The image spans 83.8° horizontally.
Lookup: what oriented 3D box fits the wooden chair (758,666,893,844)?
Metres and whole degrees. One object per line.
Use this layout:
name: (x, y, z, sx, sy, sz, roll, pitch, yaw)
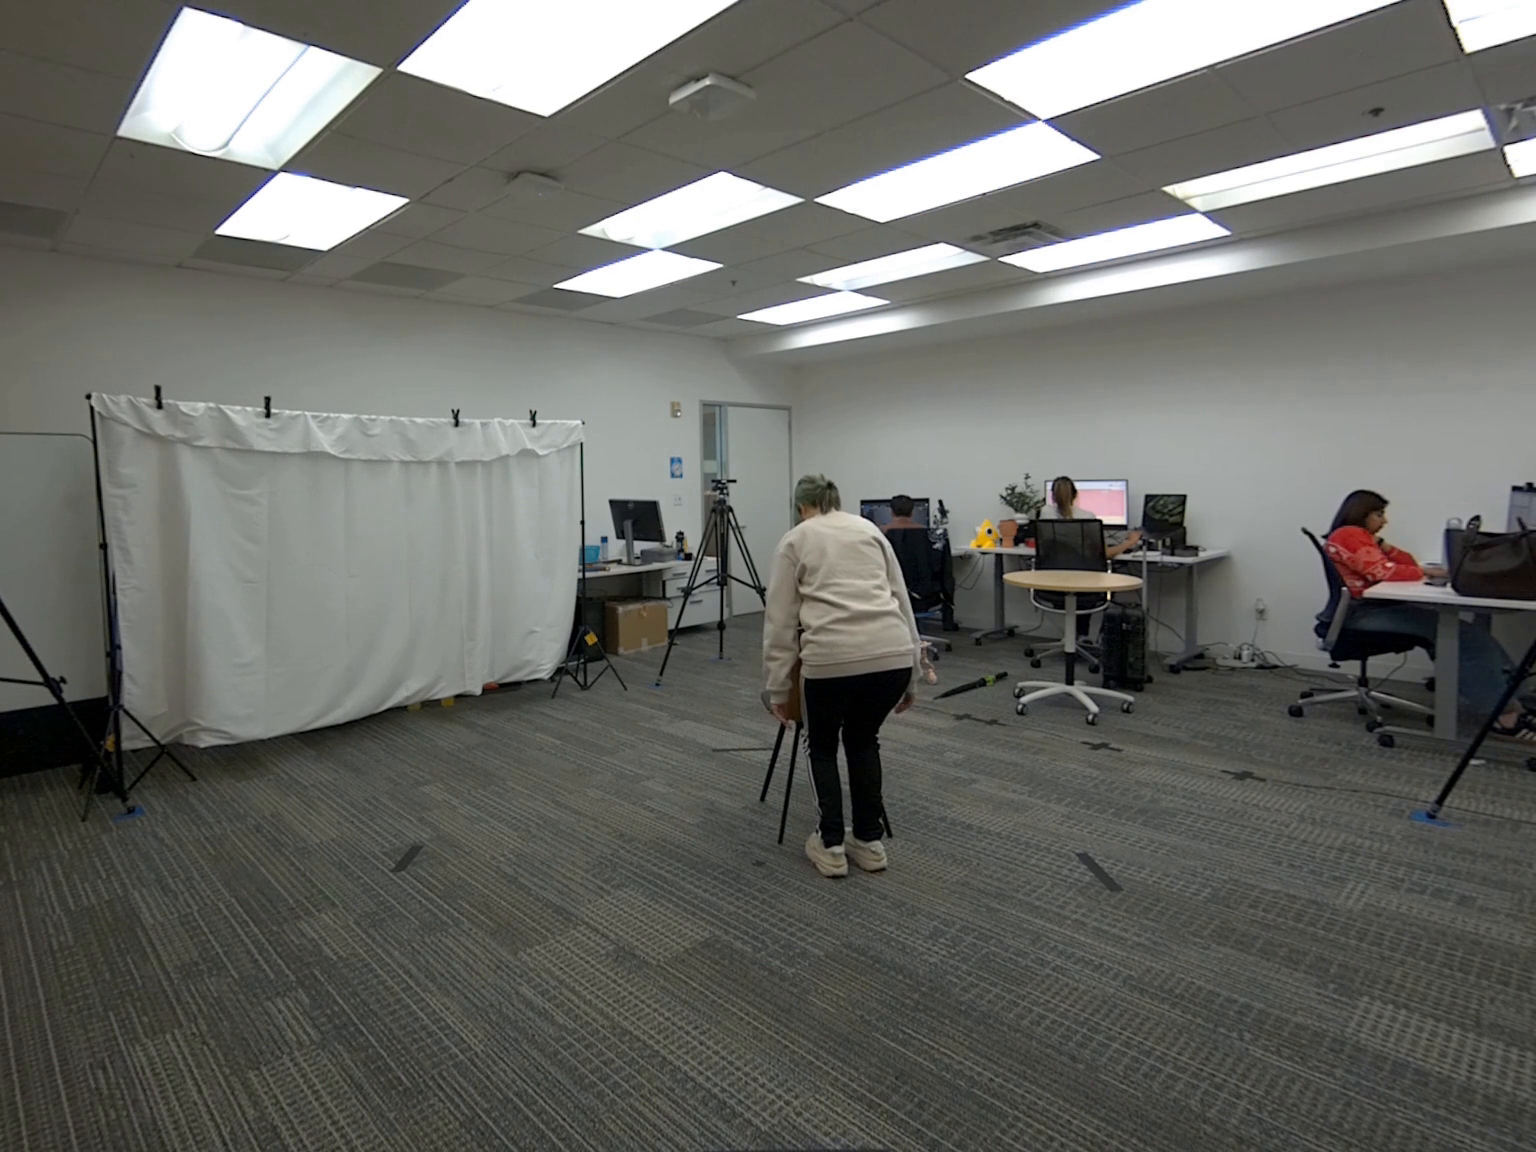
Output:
wooden chair: (0.211, 0.571, 3.498, 0.474, 0.871, 0.531, -2, 9, -9)
